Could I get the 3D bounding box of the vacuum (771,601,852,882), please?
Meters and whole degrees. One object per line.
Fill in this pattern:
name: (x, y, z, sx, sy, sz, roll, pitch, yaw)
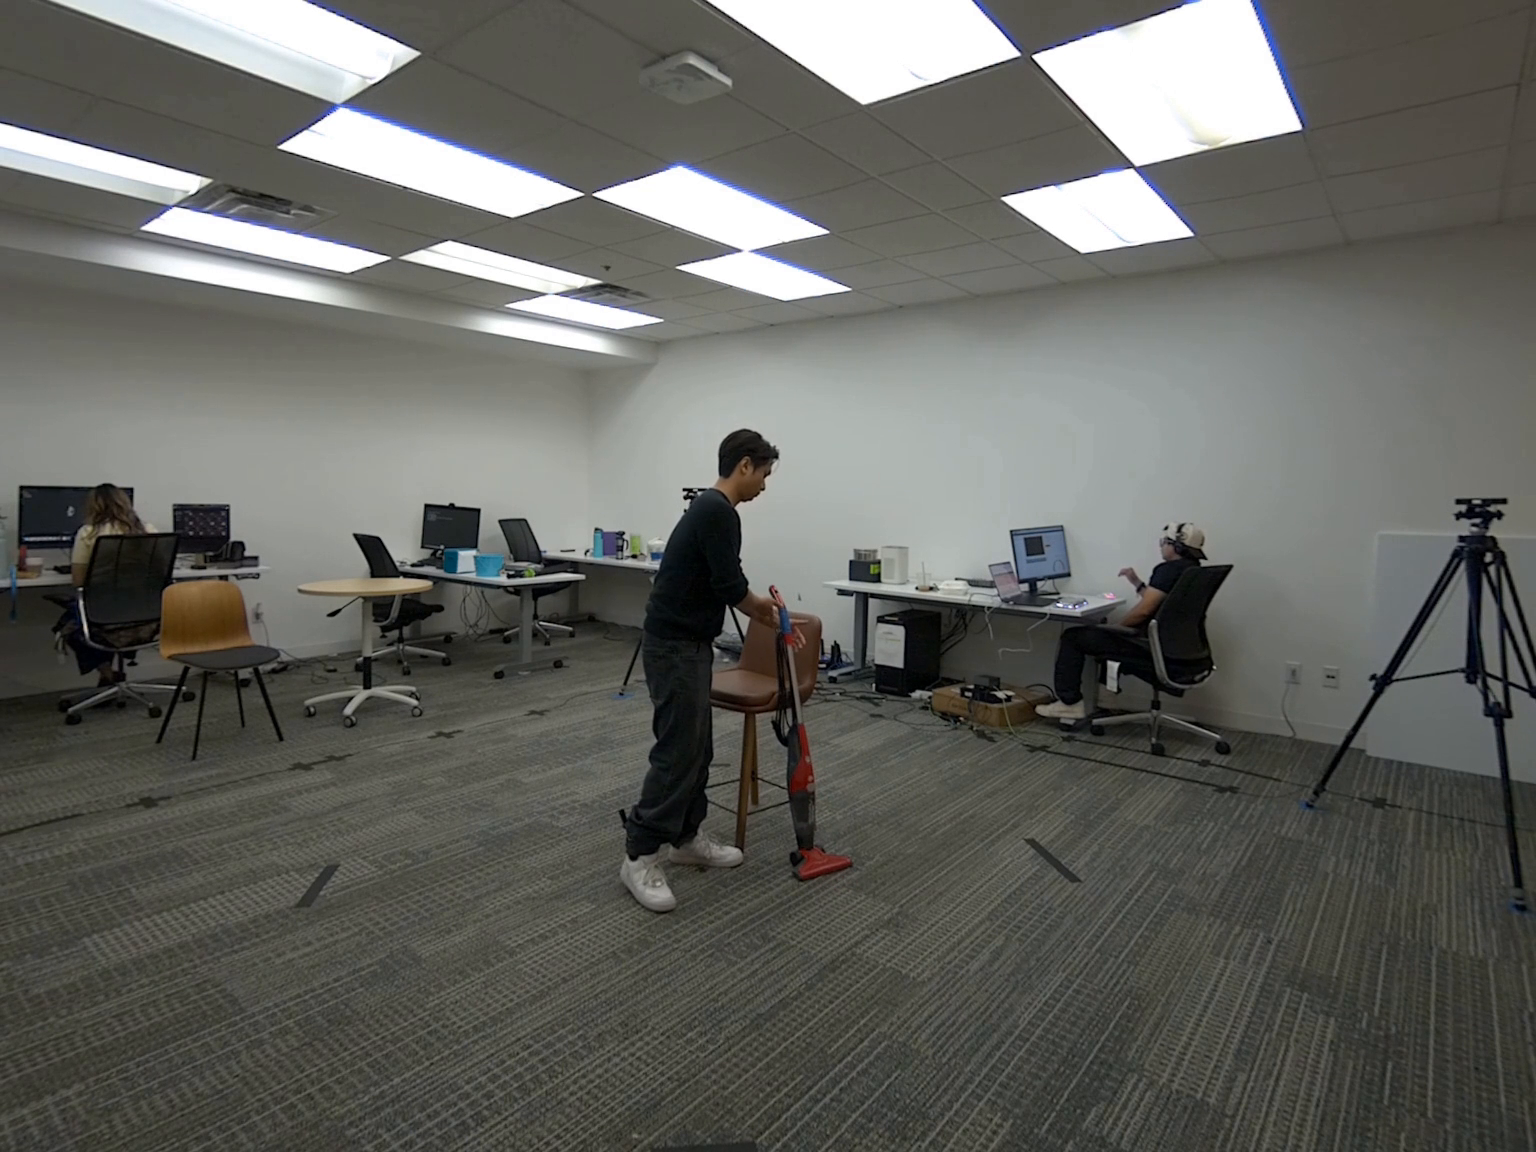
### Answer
vacuum: (0.092, 0.564, 3.250, 0.245, 1.061, 0.146, -2, -12, -36)
